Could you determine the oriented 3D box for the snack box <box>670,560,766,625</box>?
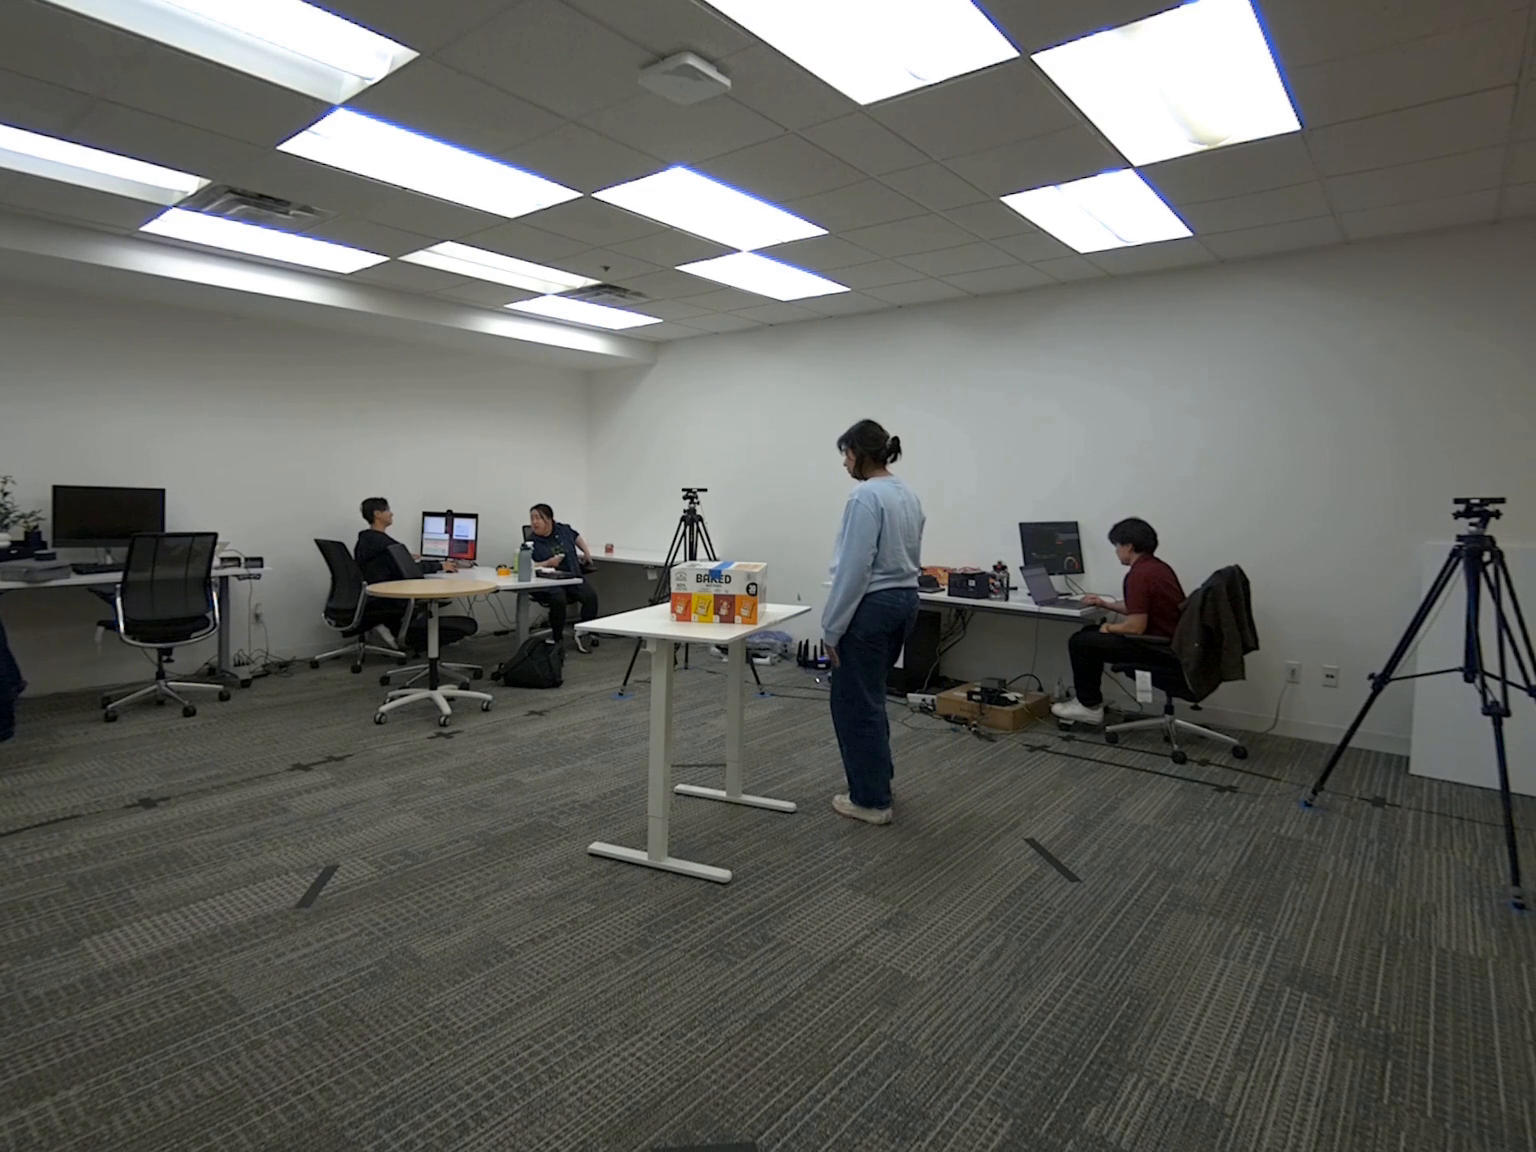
[{"bbox_3d":[-0.199,0.054,3.425,0.343,0.205,0.403,2,5,6],"label":"snack box"}]
